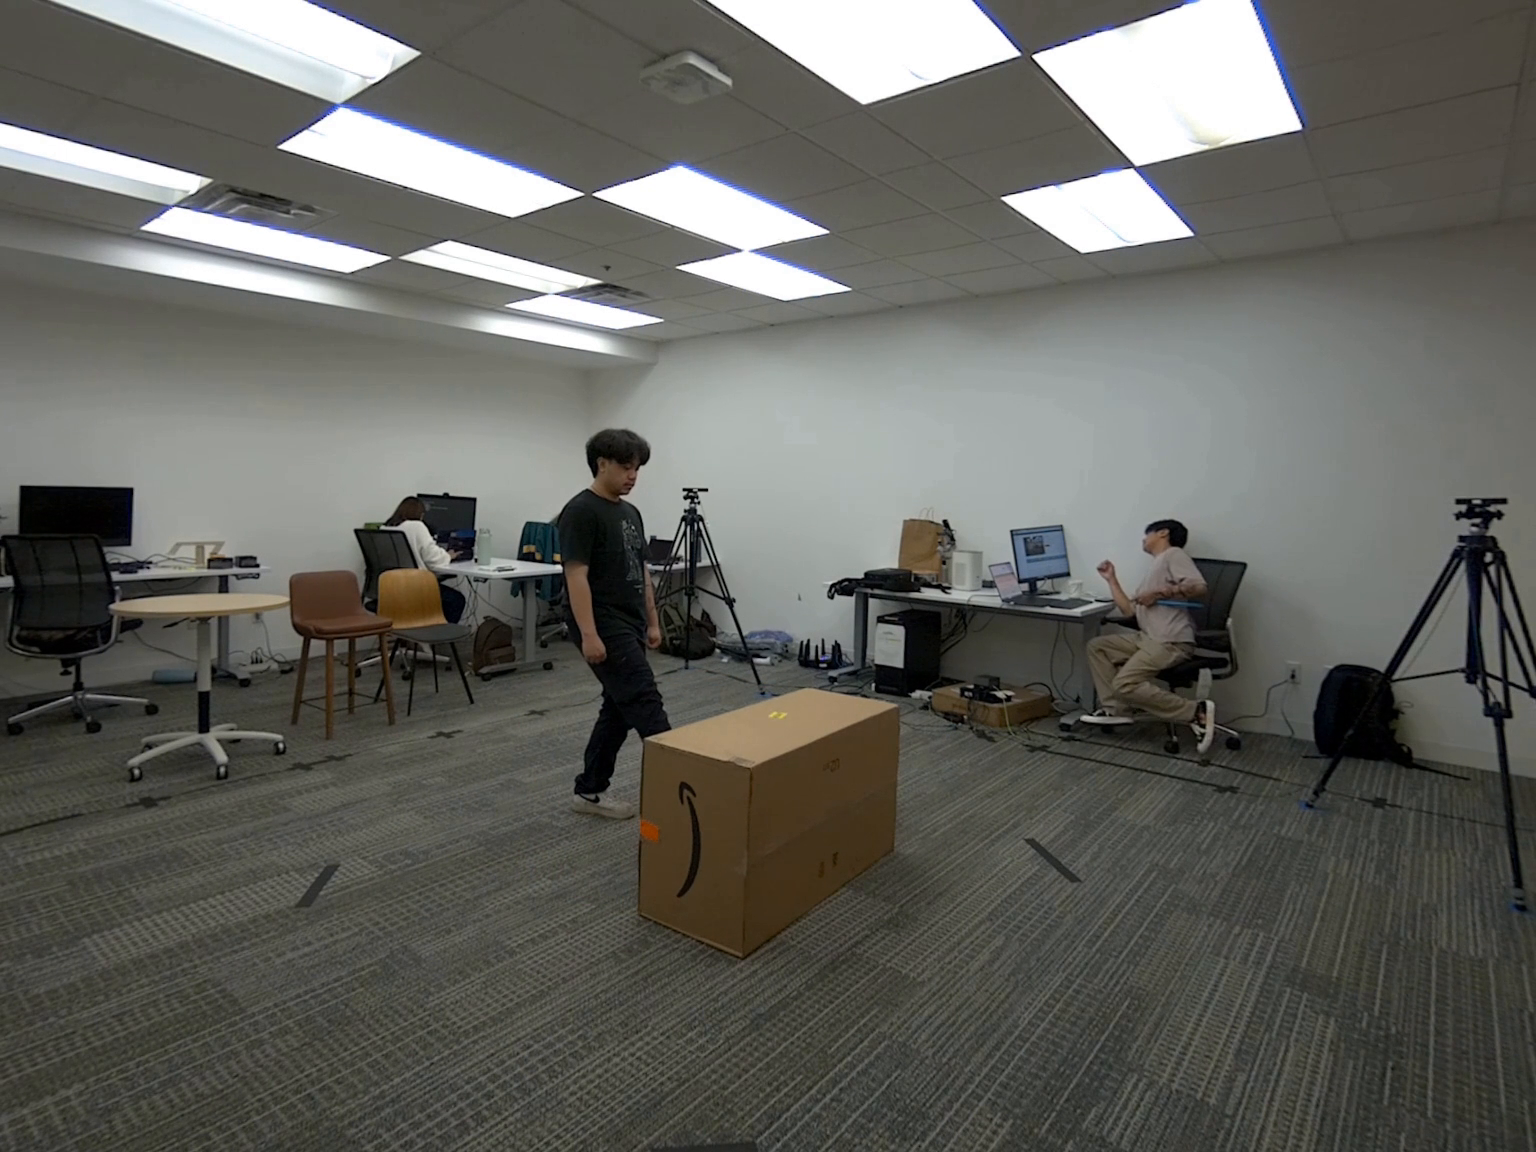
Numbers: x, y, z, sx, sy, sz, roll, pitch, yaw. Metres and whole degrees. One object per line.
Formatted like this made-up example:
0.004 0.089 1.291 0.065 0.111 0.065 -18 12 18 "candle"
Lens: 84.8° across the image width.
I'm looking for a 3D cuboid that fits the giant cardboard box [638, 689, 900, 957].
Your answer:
0.035 0.797 3.027 0.461 0.582 0.998 3 4 35 "giant cardboard box"
